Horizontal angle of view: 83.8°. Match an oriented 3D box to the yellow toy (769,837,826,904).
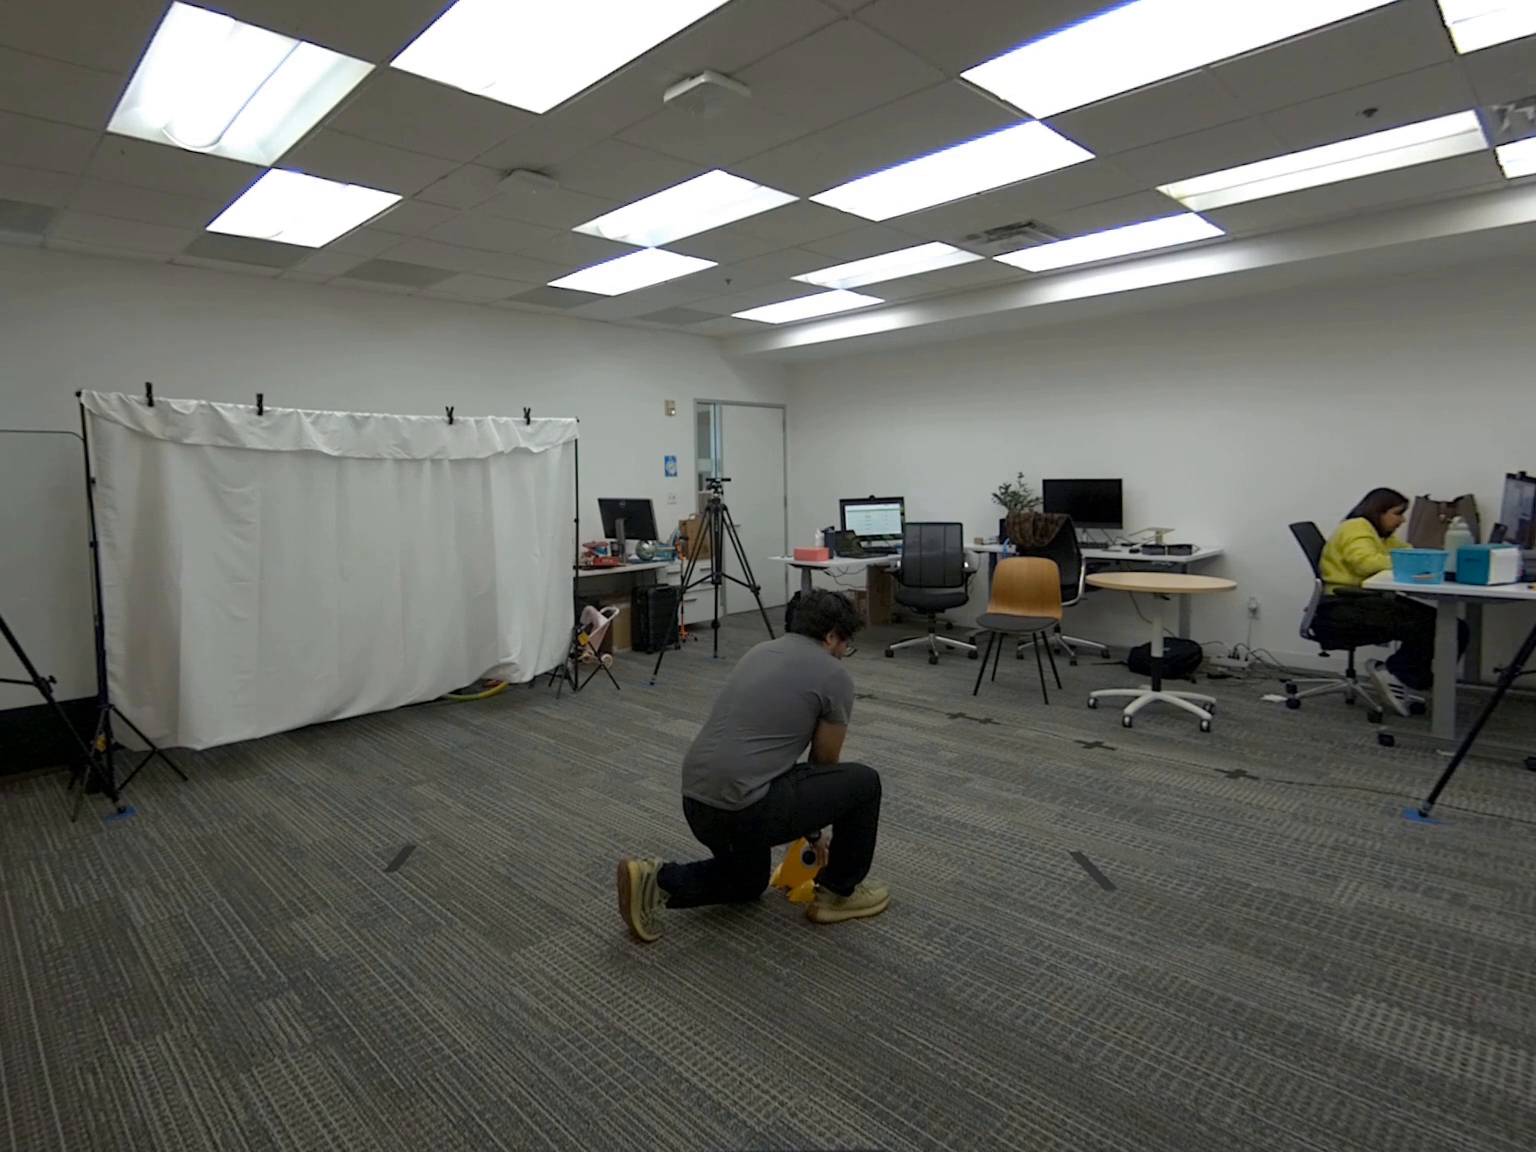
[{"bbox_3d":[0.120,0.953,2.905,0.188,0.229,0.211,-3,7,-29],"label":"yellow toy"}]
